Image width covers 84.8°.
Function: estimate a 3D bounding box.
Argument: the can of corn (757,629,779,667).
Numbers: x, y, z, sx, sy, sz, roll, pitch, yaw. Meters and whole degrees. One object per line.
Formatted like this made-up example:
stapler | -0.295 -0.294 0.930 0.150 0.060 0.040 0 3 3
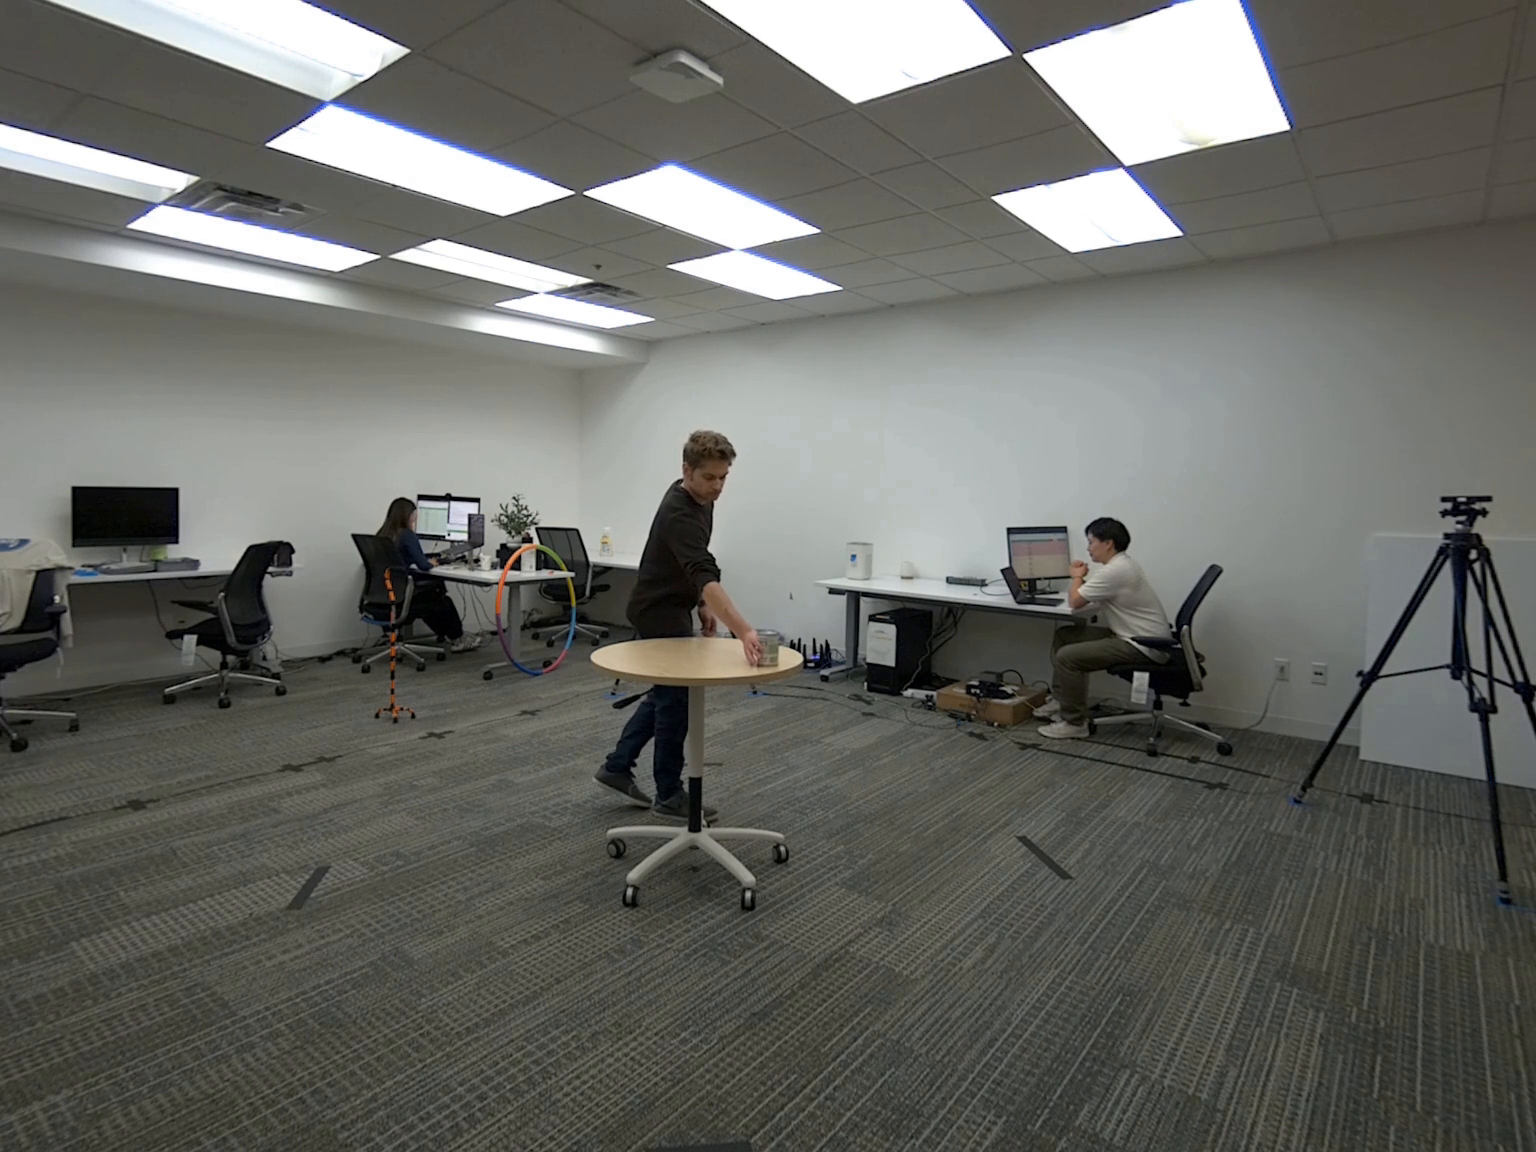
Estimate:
can of corn | -0.006 0.249 2.914 0.074 0.110 0.074 1 5 -2
